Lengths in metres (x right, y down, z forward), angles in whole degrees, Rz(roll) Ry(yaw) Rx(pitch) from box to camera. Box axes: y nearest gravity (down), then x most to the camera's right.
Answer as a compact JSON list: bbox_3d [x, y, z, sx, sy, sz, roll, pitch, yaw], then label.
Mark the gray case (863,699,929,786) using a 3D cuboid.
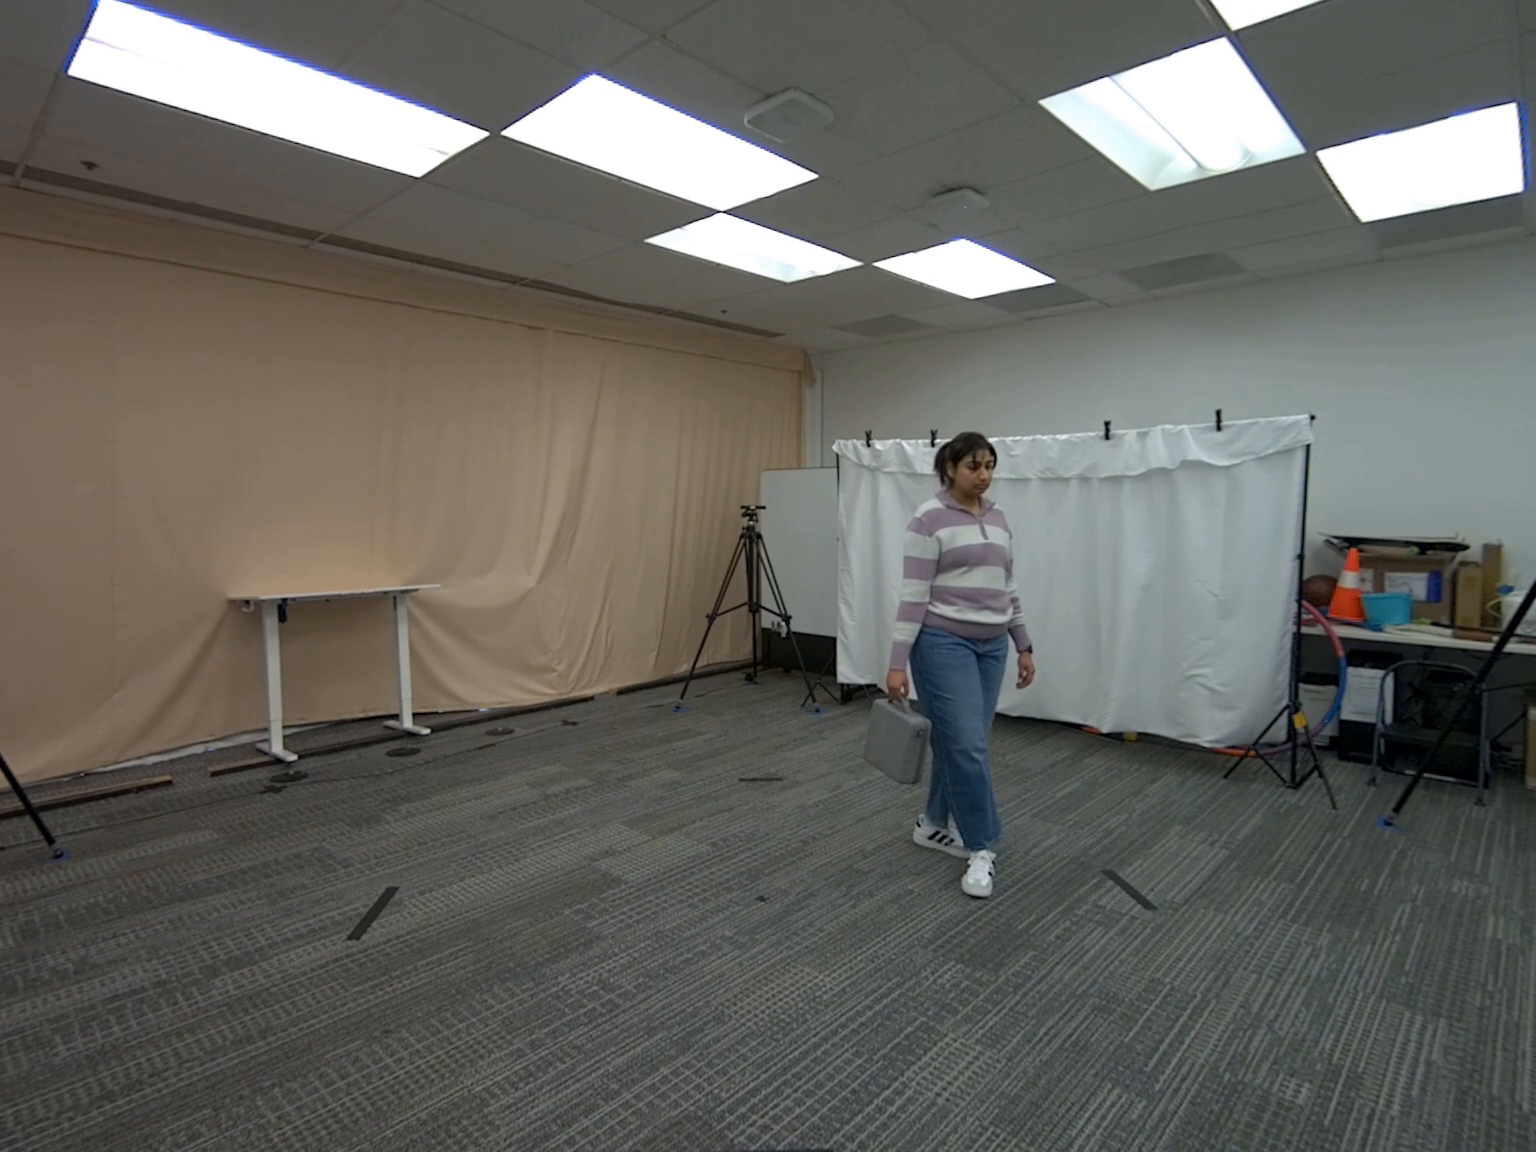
[{"bbox_3d":[0.488,0.610,3.138,0.102,0.259,0.264,4,9,-25],"label":"gray case"}]
